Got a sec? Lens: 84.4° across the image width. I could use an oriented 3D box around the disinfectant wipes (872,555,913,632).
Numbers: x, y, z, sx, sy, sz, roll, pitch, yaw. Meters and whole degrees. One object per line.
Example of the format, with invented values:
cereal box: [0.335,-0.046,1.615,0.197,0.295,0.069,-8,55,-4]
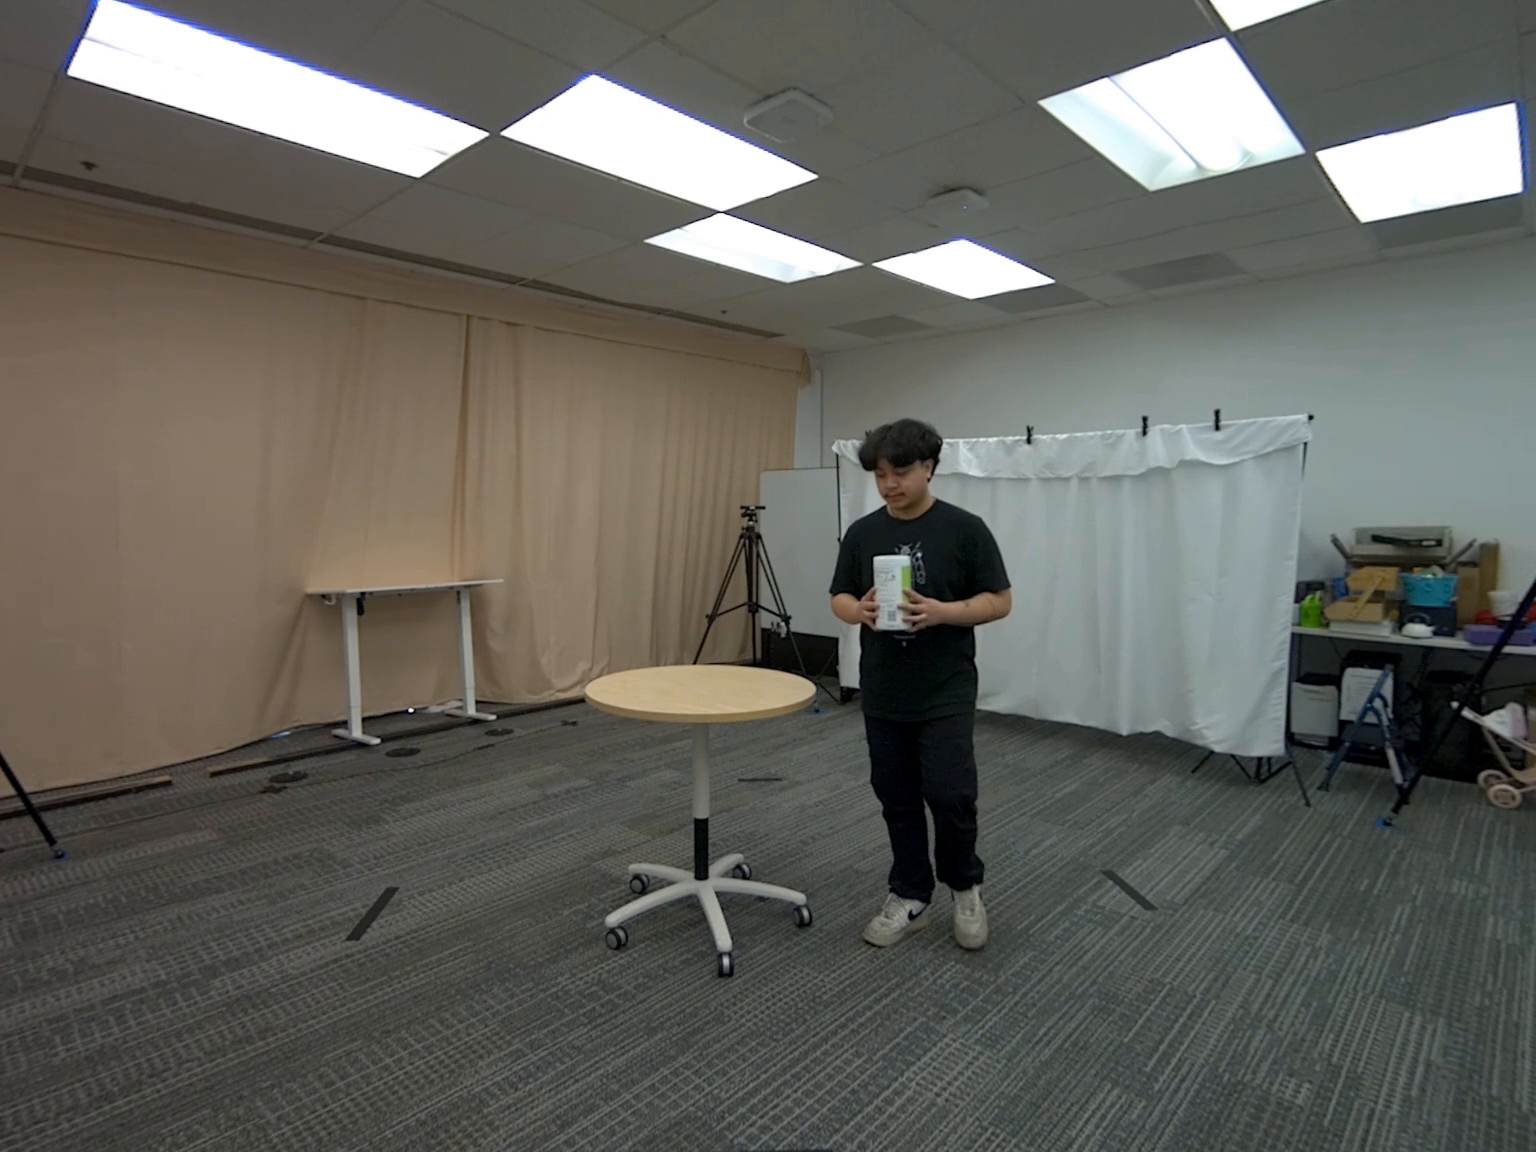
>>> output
disinfectant wipes: [0.386,0.053,2.503,0.118,0.217,0.118,-4,3,-2]
